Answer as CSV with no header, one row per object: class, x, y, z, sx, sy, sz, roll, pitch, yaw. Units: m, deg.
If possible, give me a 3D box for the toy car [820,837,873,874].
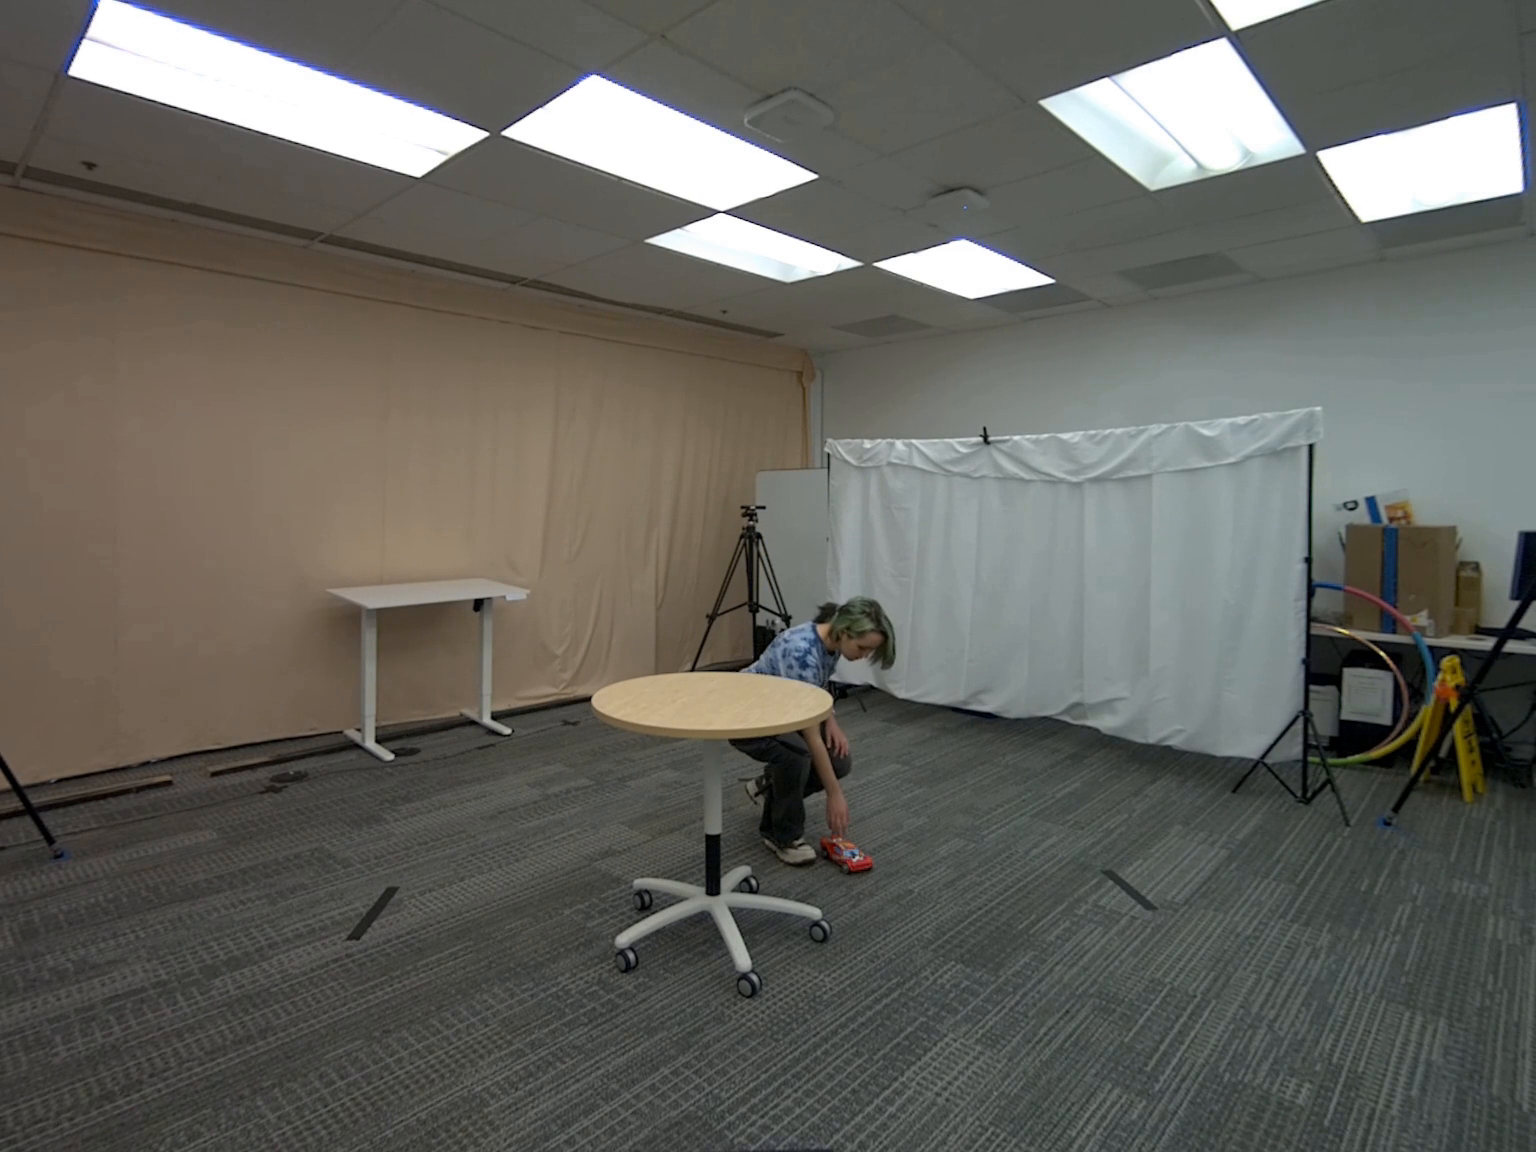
toy car,0.304,1.085,3.287,0.127,0.082,0.262,-1,15,-26
